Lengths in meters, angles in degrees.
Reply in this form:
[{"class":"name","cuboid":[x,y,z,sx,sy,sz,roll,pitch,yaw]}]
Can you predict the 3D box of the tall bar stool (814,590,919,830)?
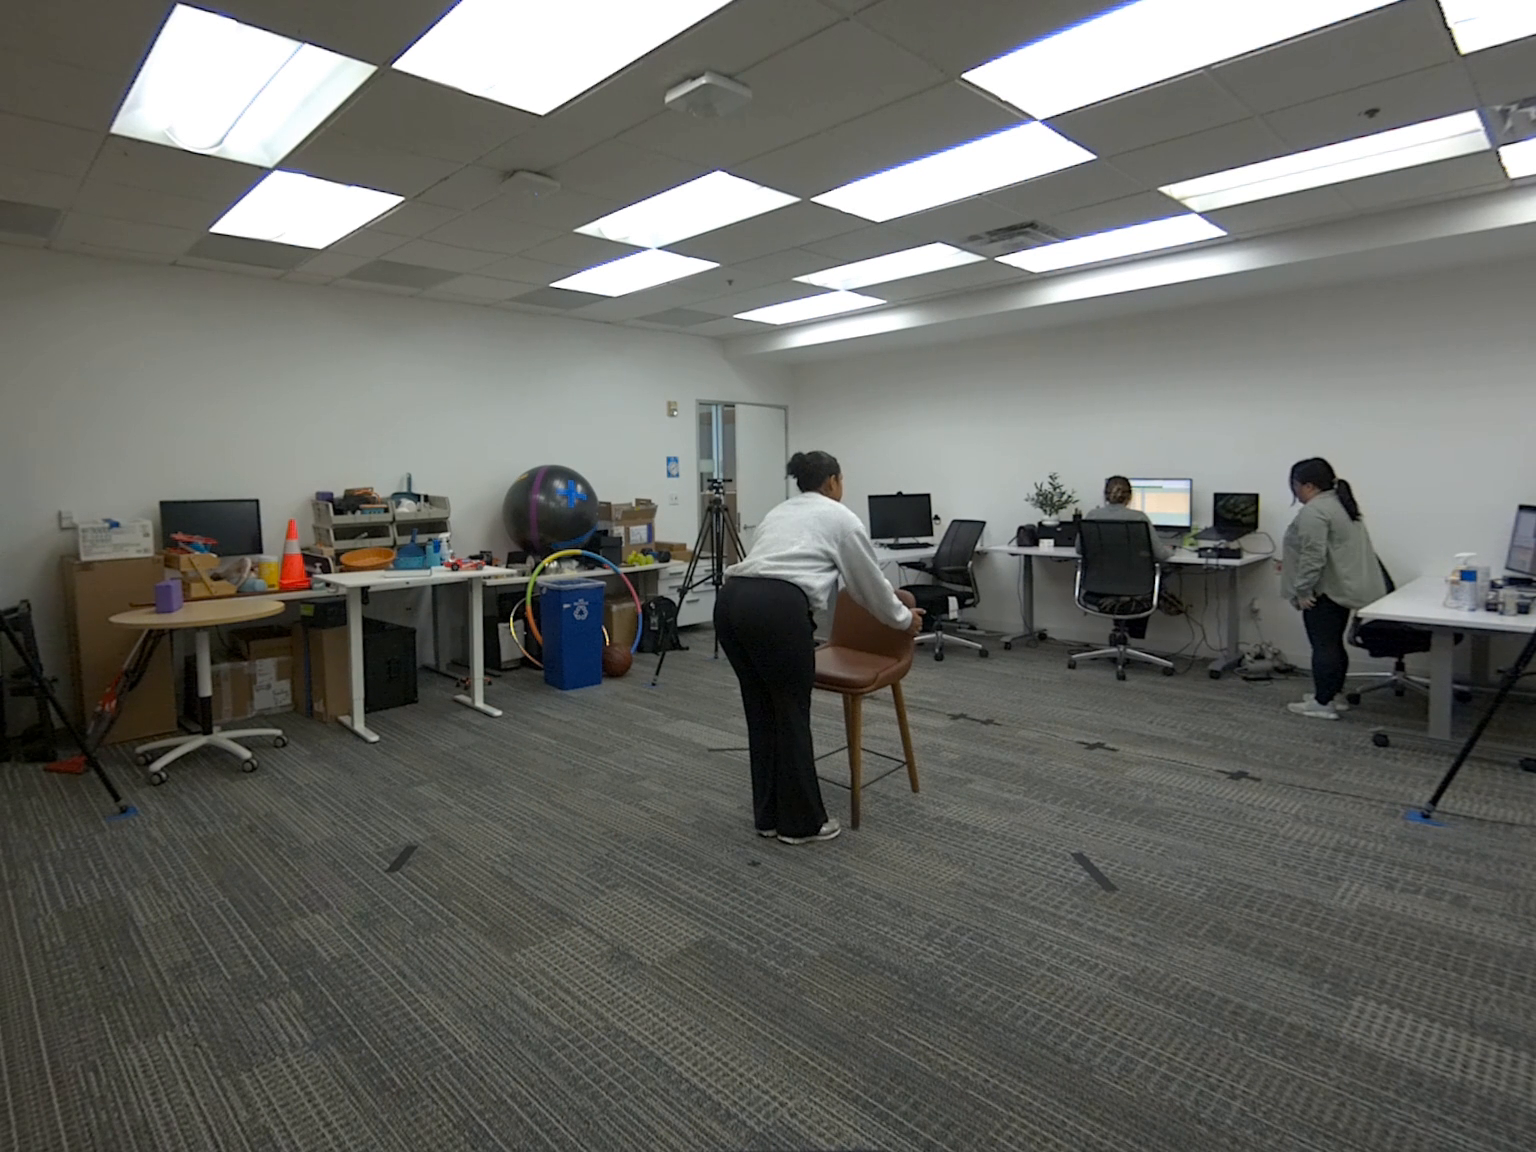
[{"class":"tall bar stool","cuboid":[0.350,0.514,3.619,0.456,0.883,0.471,-8,10,-41]}]
